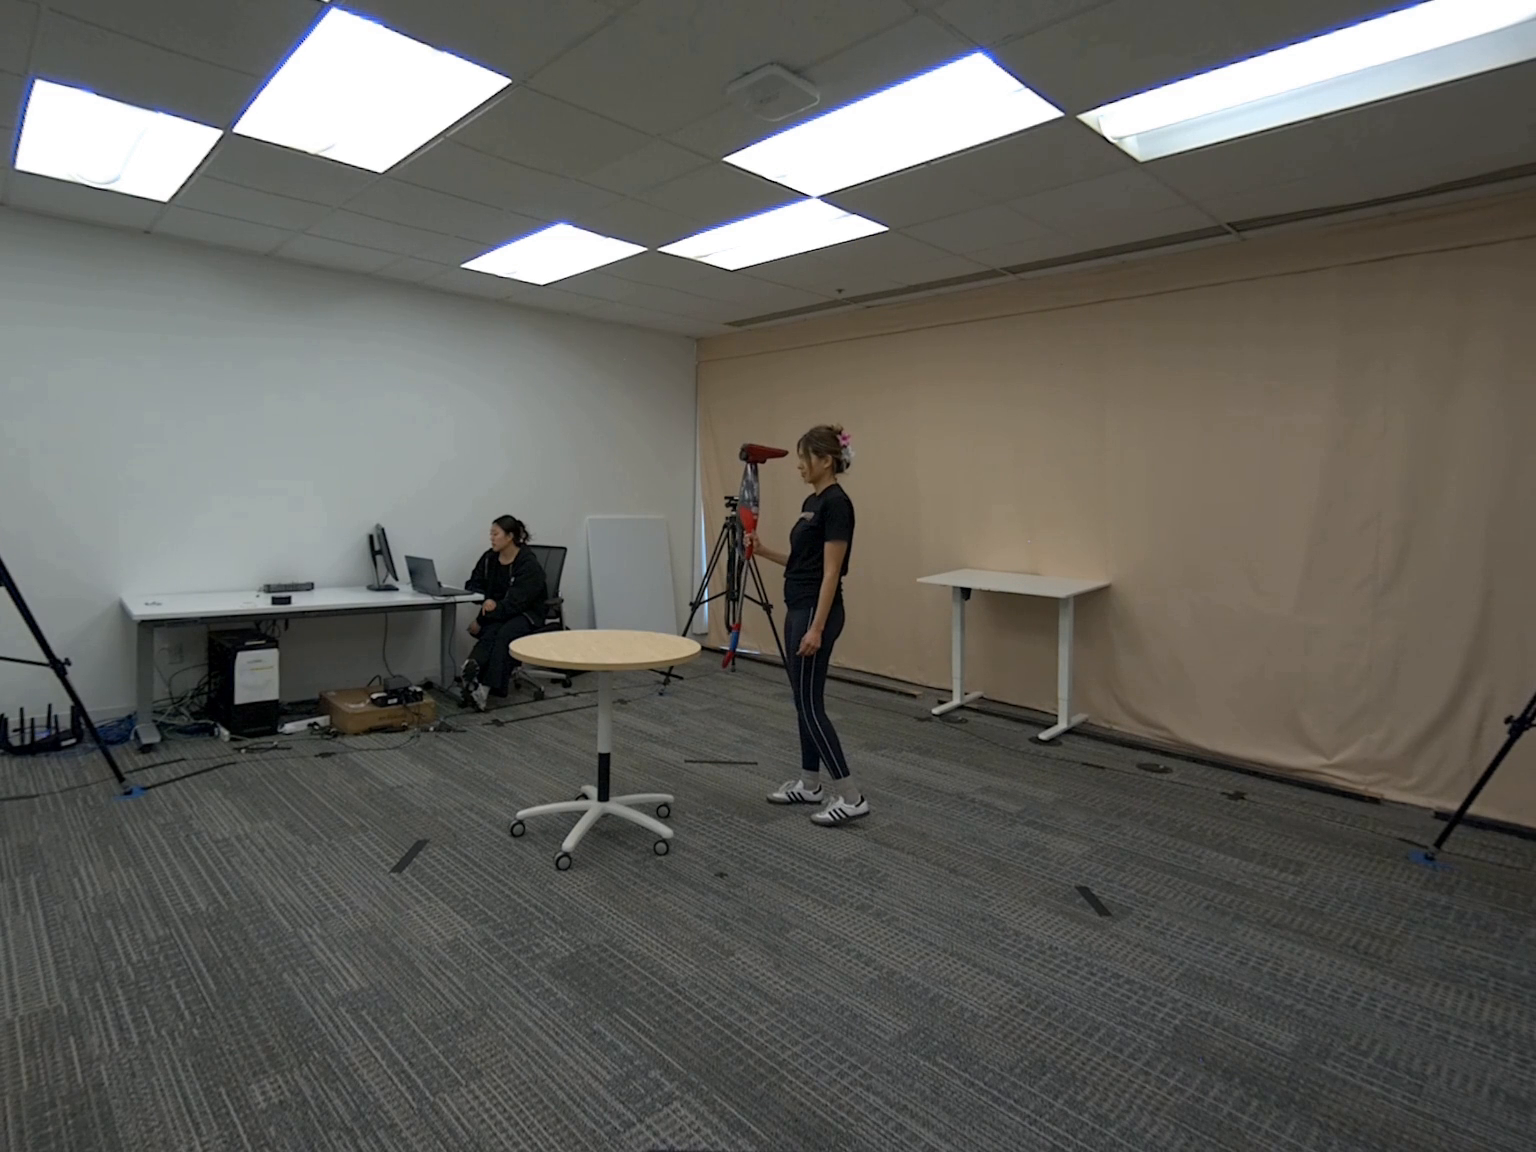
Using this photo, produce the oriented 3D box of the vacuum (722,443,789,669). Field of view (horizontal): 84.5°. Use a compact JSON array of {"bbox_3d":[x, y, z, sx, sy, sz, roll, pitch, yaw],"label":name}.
[{"bbox_3d":[-0.131,-0.079,4.001,0.246,1.046,0.148,7,6,-36],"label":"vacuum"}]
